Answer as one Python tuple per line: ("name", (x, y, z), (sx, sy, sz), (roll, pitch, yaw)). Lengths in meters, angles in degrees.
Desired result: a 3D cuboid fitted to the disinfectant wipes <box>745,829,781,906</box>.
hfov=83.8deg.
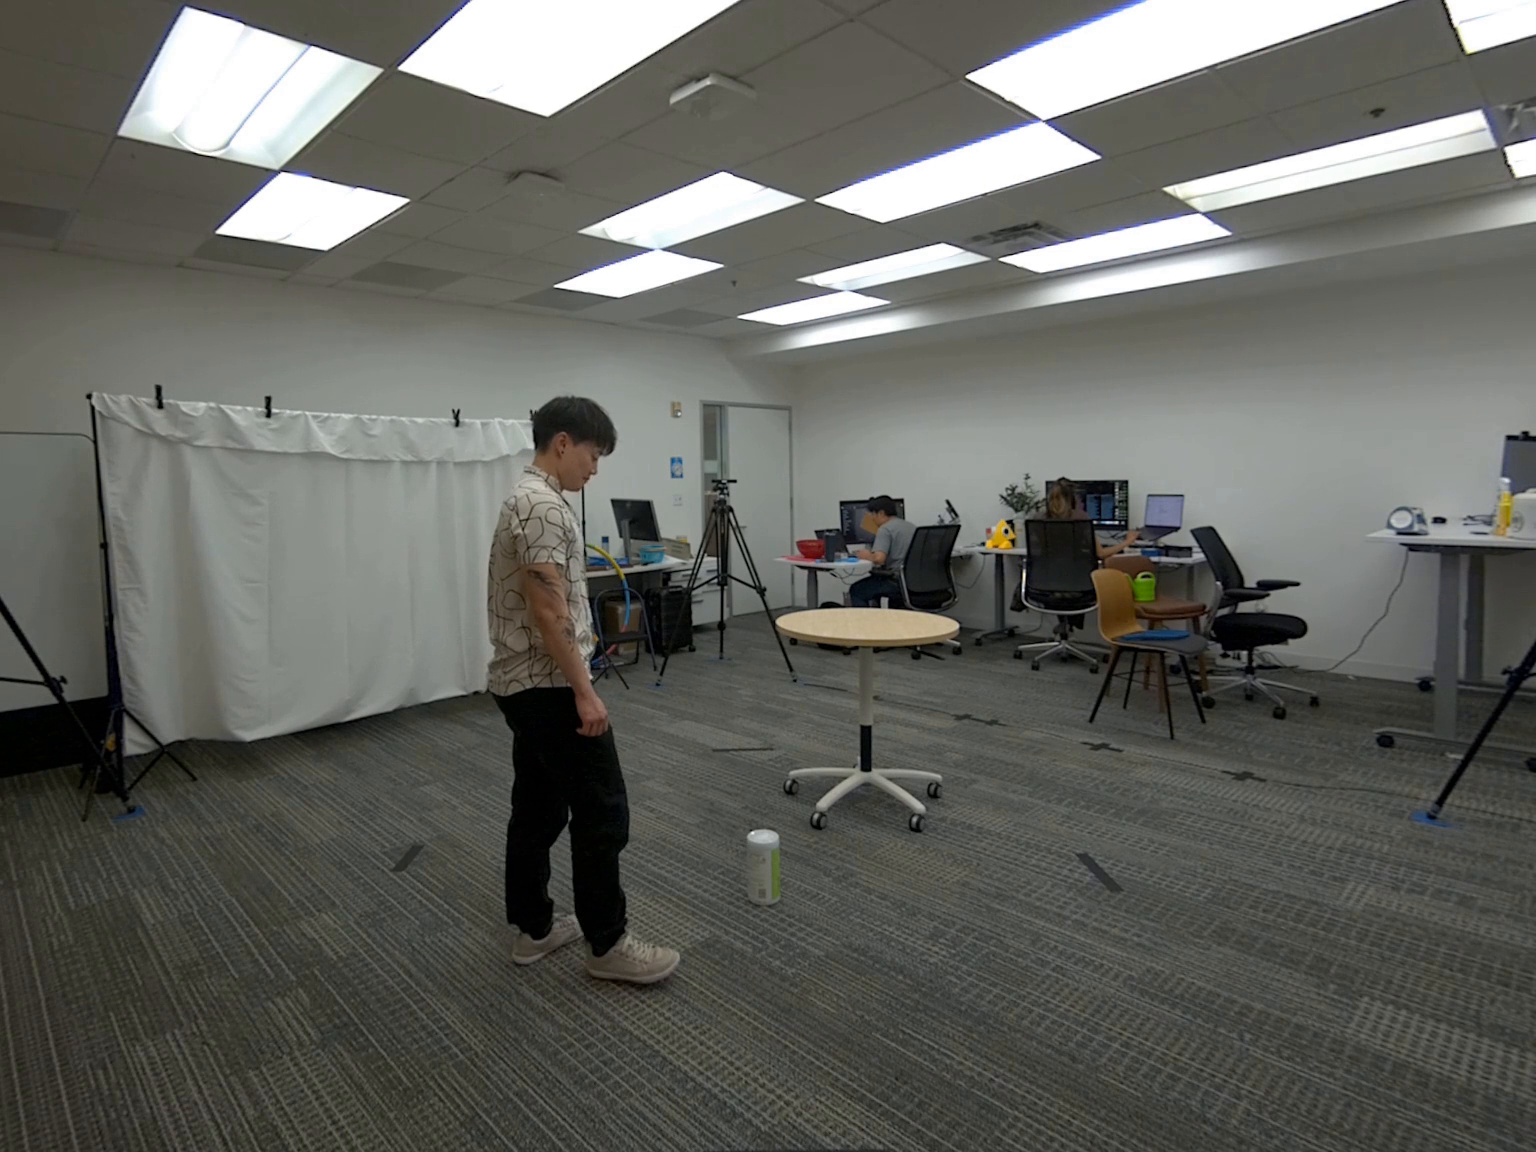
("disinfectant wipes", (-0.011, 0.972, 2.836), (0.118, 0.217, 0.118), (-1, 3, -2))
